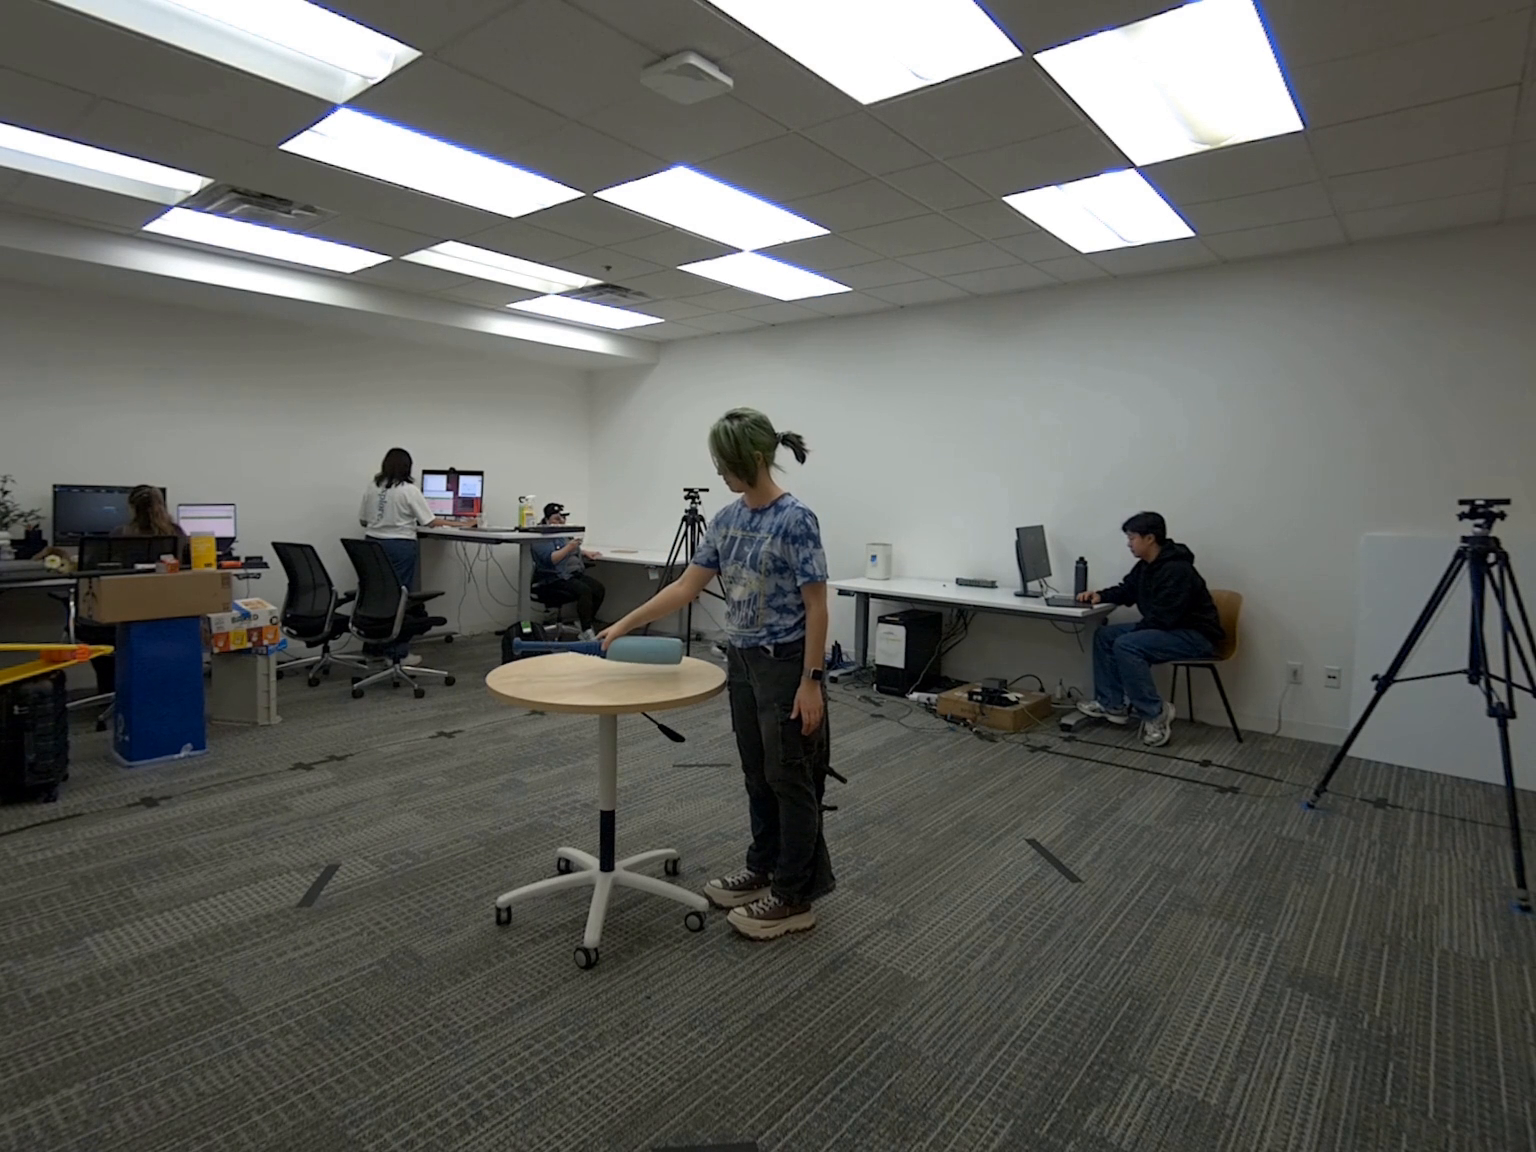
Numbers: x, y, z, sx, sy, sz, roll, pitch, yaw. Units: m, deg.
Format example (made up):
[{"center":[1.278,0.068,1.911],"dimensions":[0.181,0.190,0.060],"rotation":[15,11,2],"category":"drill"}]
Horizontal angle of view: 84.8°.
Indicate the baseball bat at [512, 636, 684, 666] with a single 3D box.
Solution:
[{"center":[-0.560,0.234,2.735],"dimensions":[0.537,0.089,0.090],"rotation":[2,4,-10],"category":"baseball bat"}]
